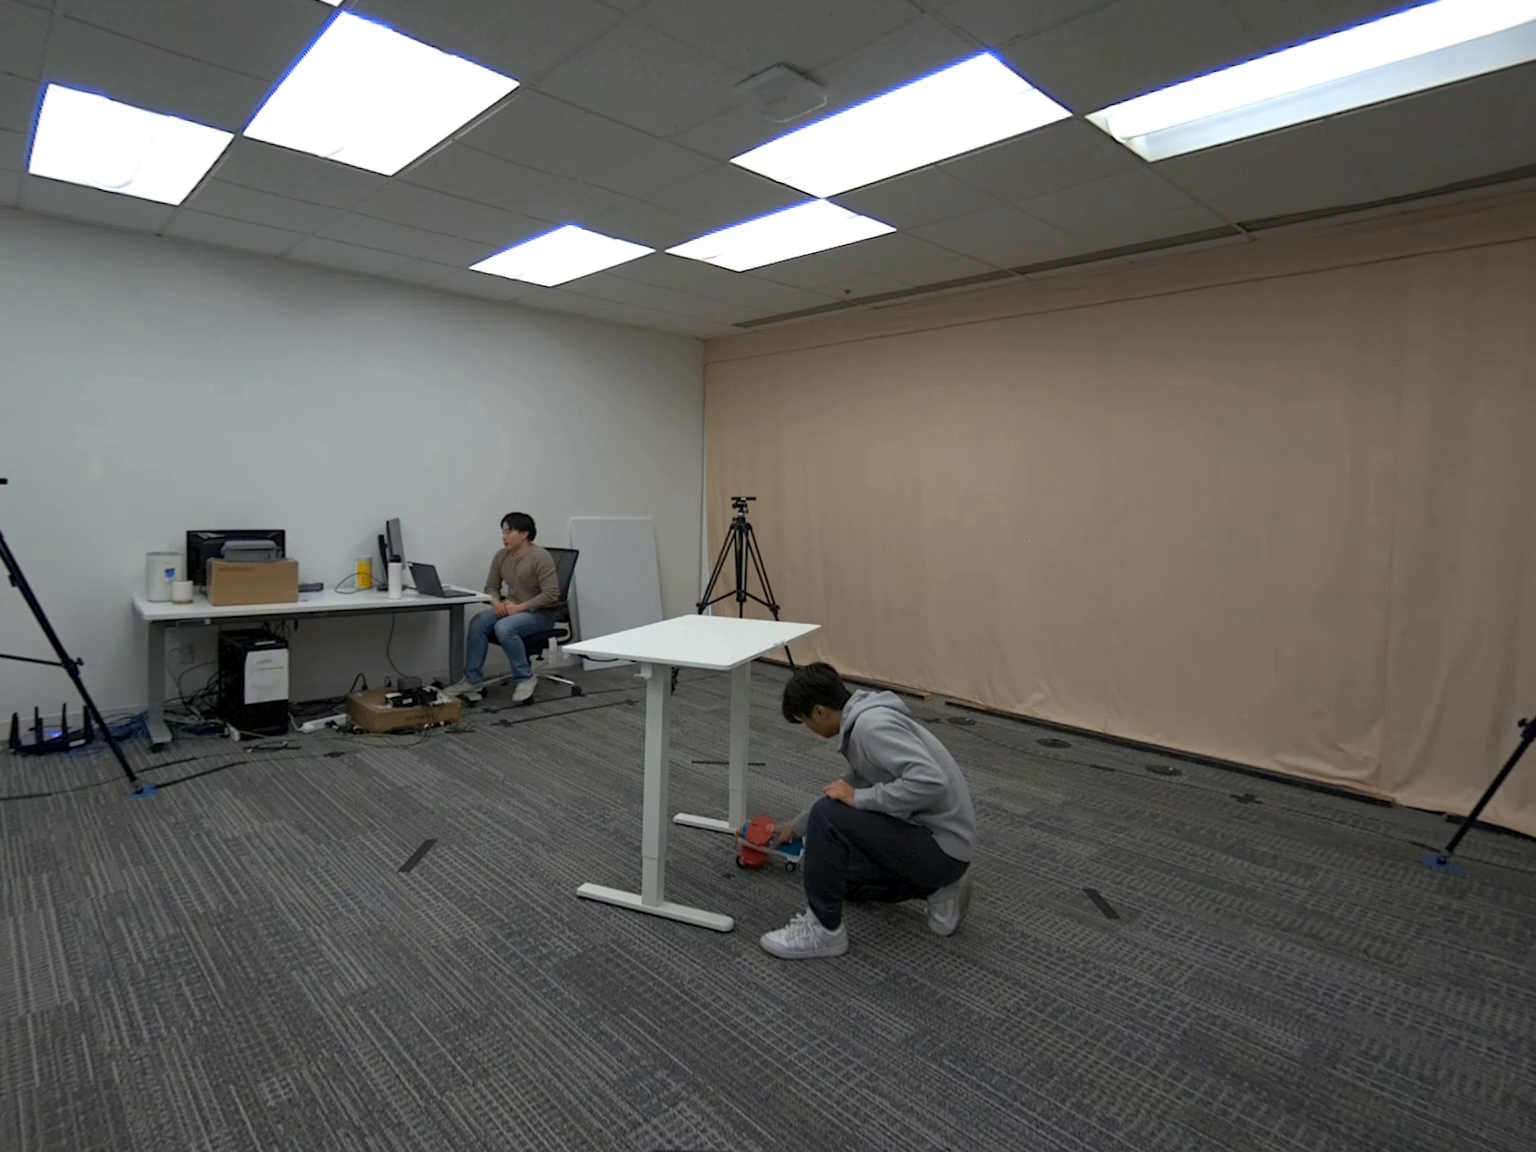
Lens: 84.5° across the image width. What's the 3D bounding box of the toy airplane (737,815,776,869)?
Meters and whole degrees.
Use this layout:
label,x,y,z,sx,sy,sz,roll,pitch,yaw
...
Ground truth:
label,x,y,z,sx,sy,sz,roll,pitch,yaw
toy airplane,-0.009,1.029,3.213,0.256,0.156,0.255,-1,6,-16
